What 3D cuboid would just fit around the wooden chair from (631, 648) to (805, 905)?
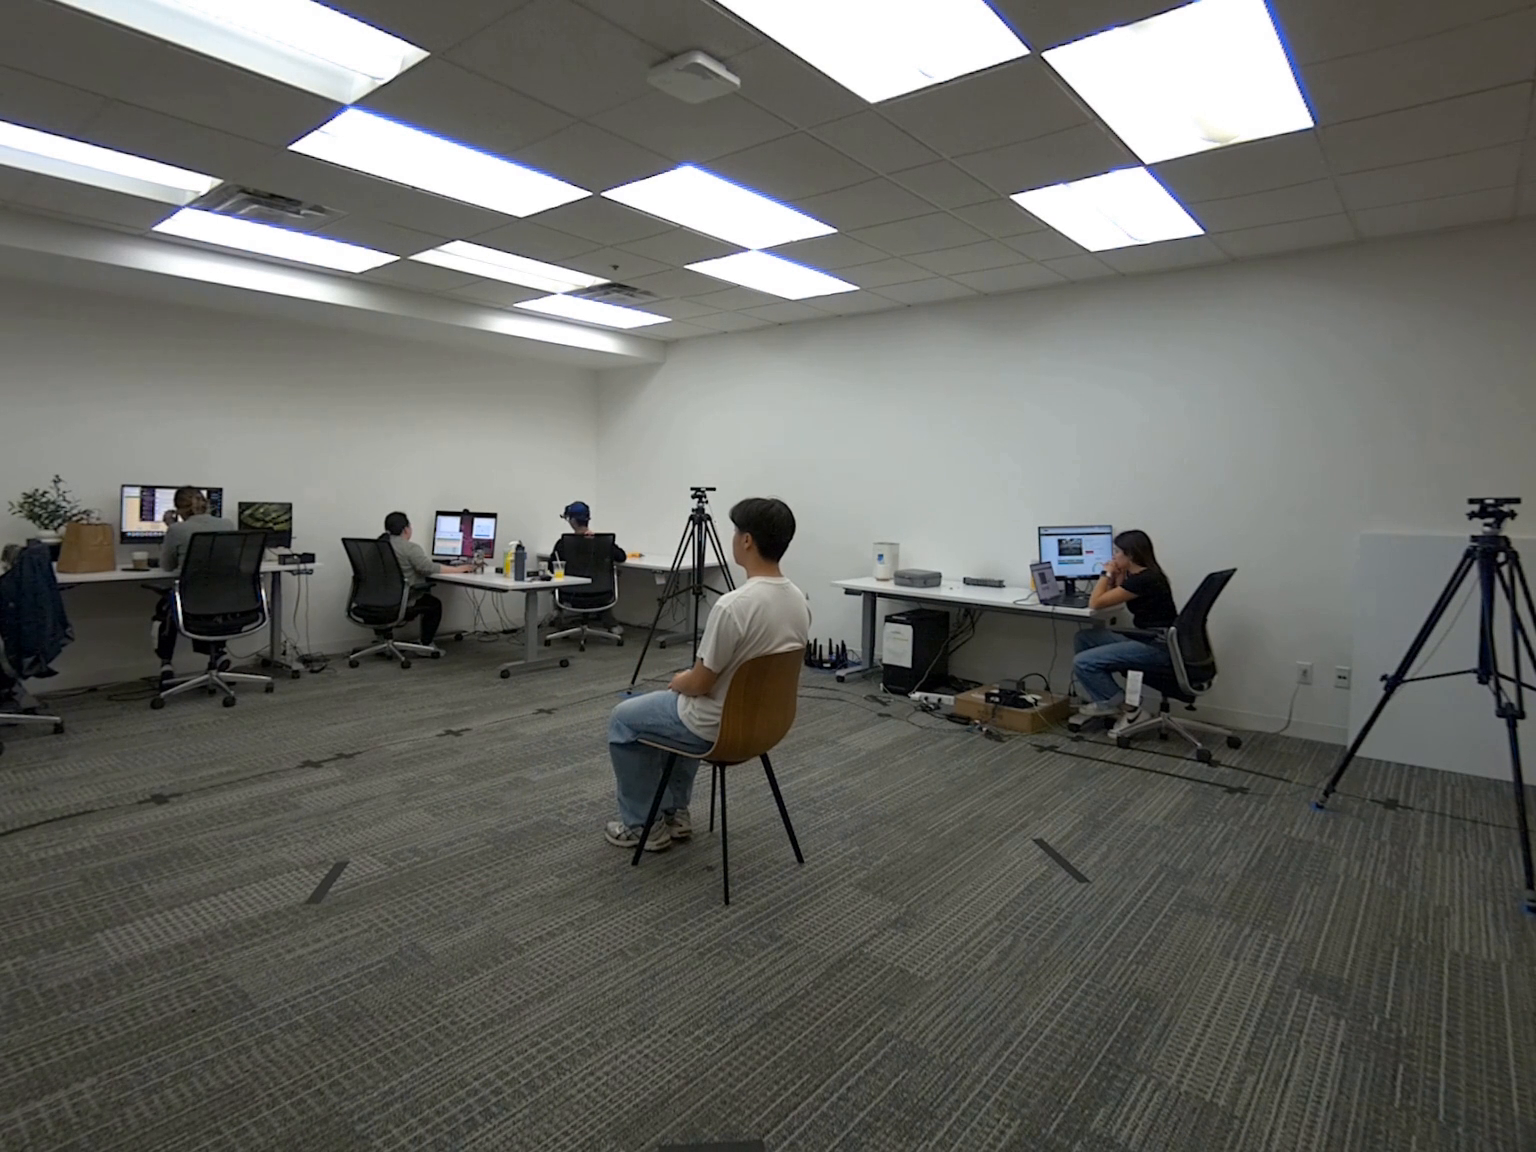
[{"bbox_3d":[-0.180,0.639,3.120,0.542,0.873,0.463,10,7,38],"label":"wooden chair"}]
